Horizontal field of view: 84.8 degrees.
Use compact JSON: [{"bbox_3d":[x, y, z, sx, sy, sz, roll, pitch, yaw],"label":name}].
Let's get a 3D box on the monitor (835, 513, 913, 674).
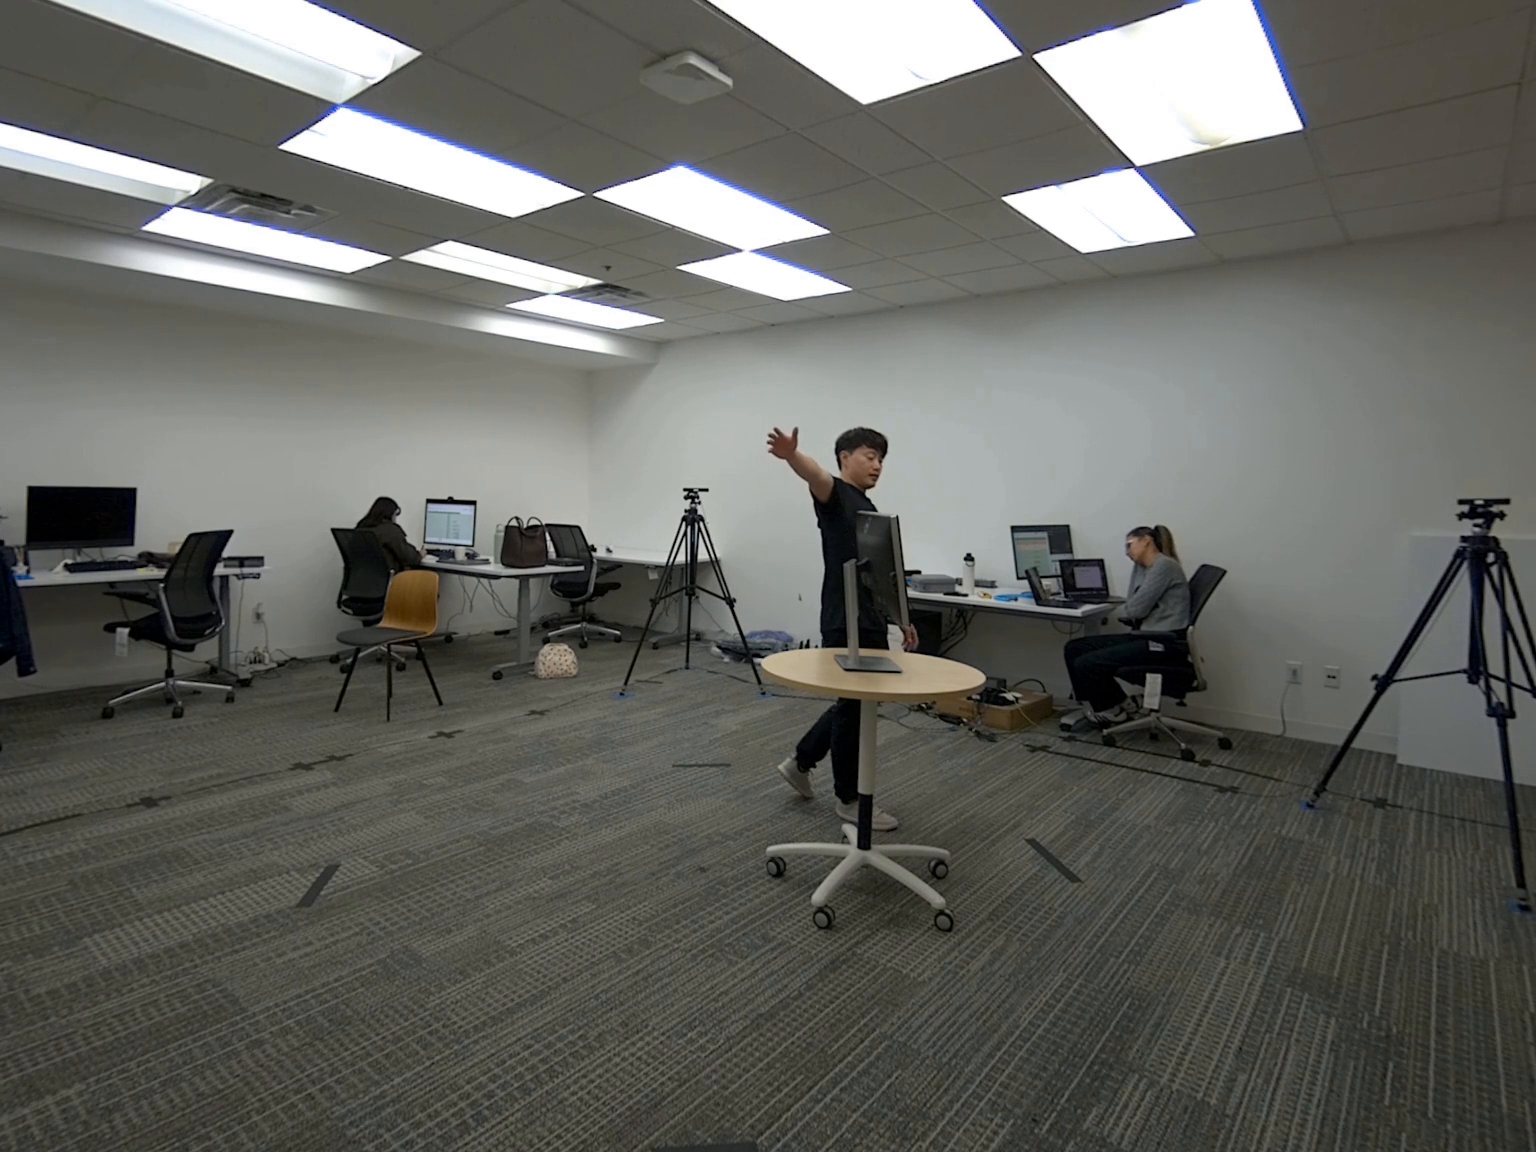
[{"bbox_3d":[0.347,0.051,2.992,0.185,0.521,0.545,3,4,-8],"label":"monitor"}]
